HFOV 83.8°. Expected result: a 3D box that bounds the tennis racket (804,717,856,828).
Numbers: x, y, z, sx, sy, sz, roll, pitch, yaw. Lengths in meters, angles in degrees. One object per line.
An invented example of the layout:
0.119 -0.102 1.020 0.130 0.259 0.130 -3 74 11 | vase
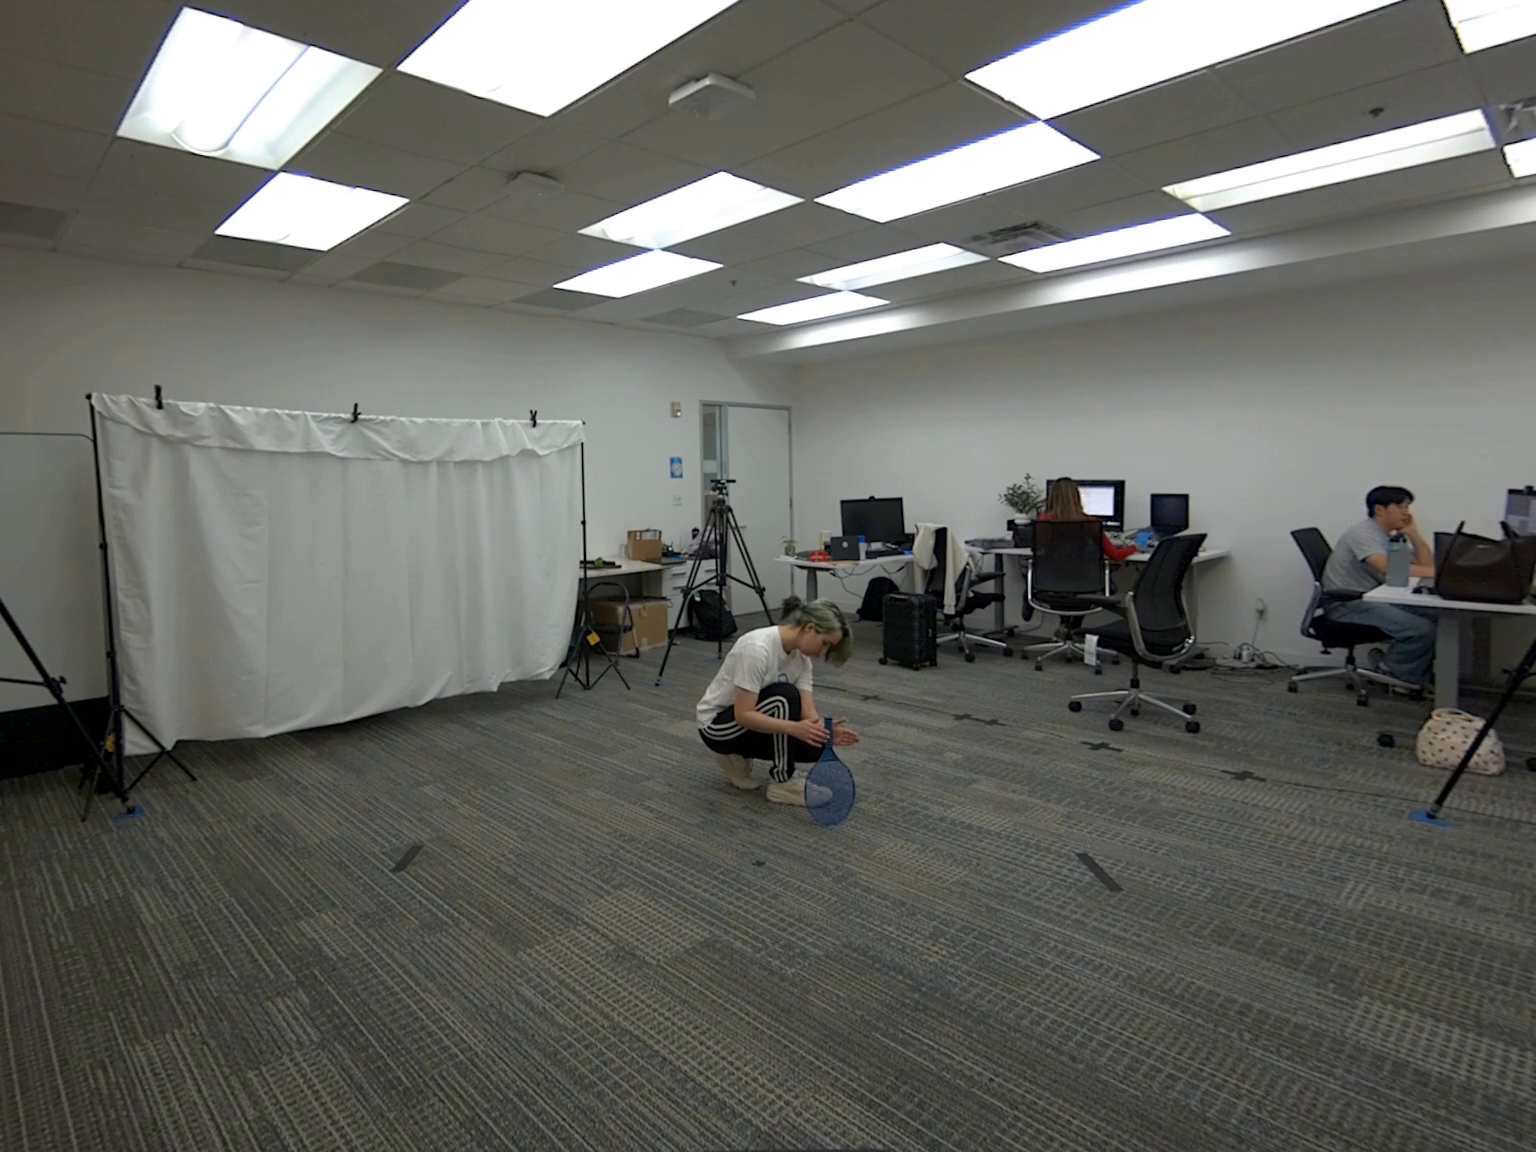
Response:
0.243 0.790 3.451 0.212 0.432 0.032 -3 1 -9 | tennis racket
